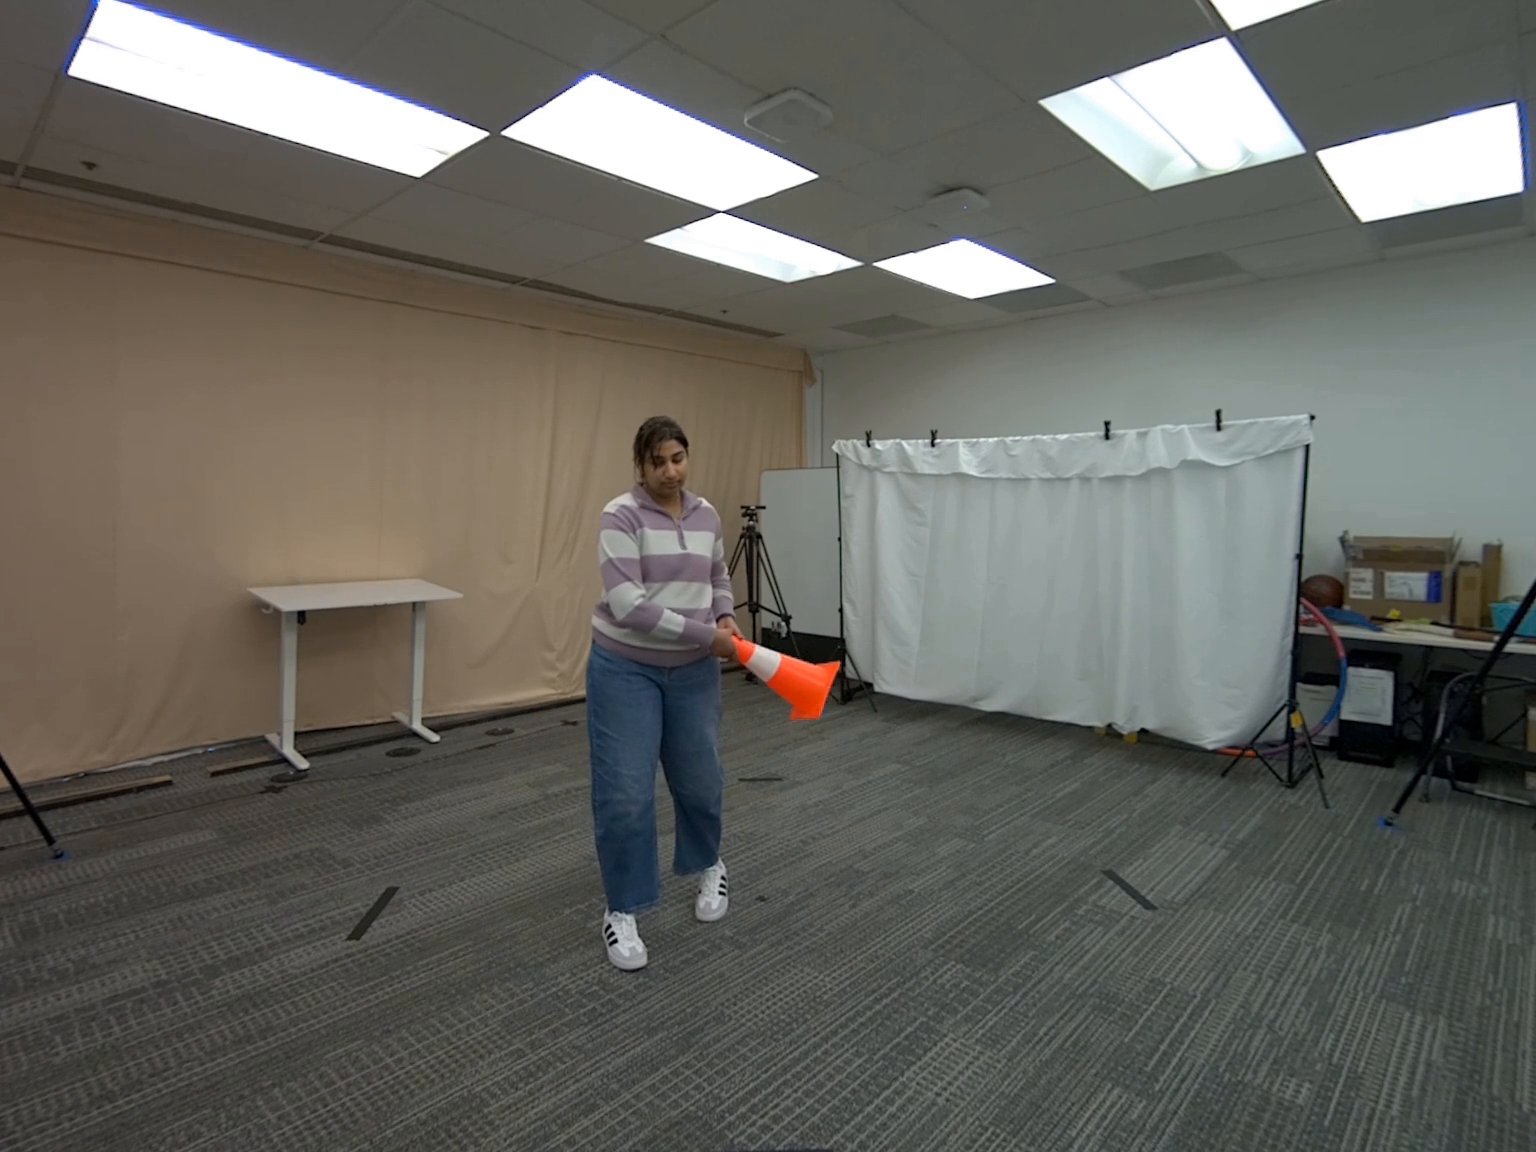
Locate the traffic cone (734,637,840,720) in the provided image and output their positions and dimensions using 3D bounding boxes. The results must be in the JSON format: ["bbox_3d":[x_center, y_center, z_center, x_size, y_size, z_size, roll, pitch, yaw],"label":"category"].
[{"bbox_3d":[-0.007,0.282,2.659,0.382,0.203,0.206,30,-13,-5],"label":"traffic cone"}]
